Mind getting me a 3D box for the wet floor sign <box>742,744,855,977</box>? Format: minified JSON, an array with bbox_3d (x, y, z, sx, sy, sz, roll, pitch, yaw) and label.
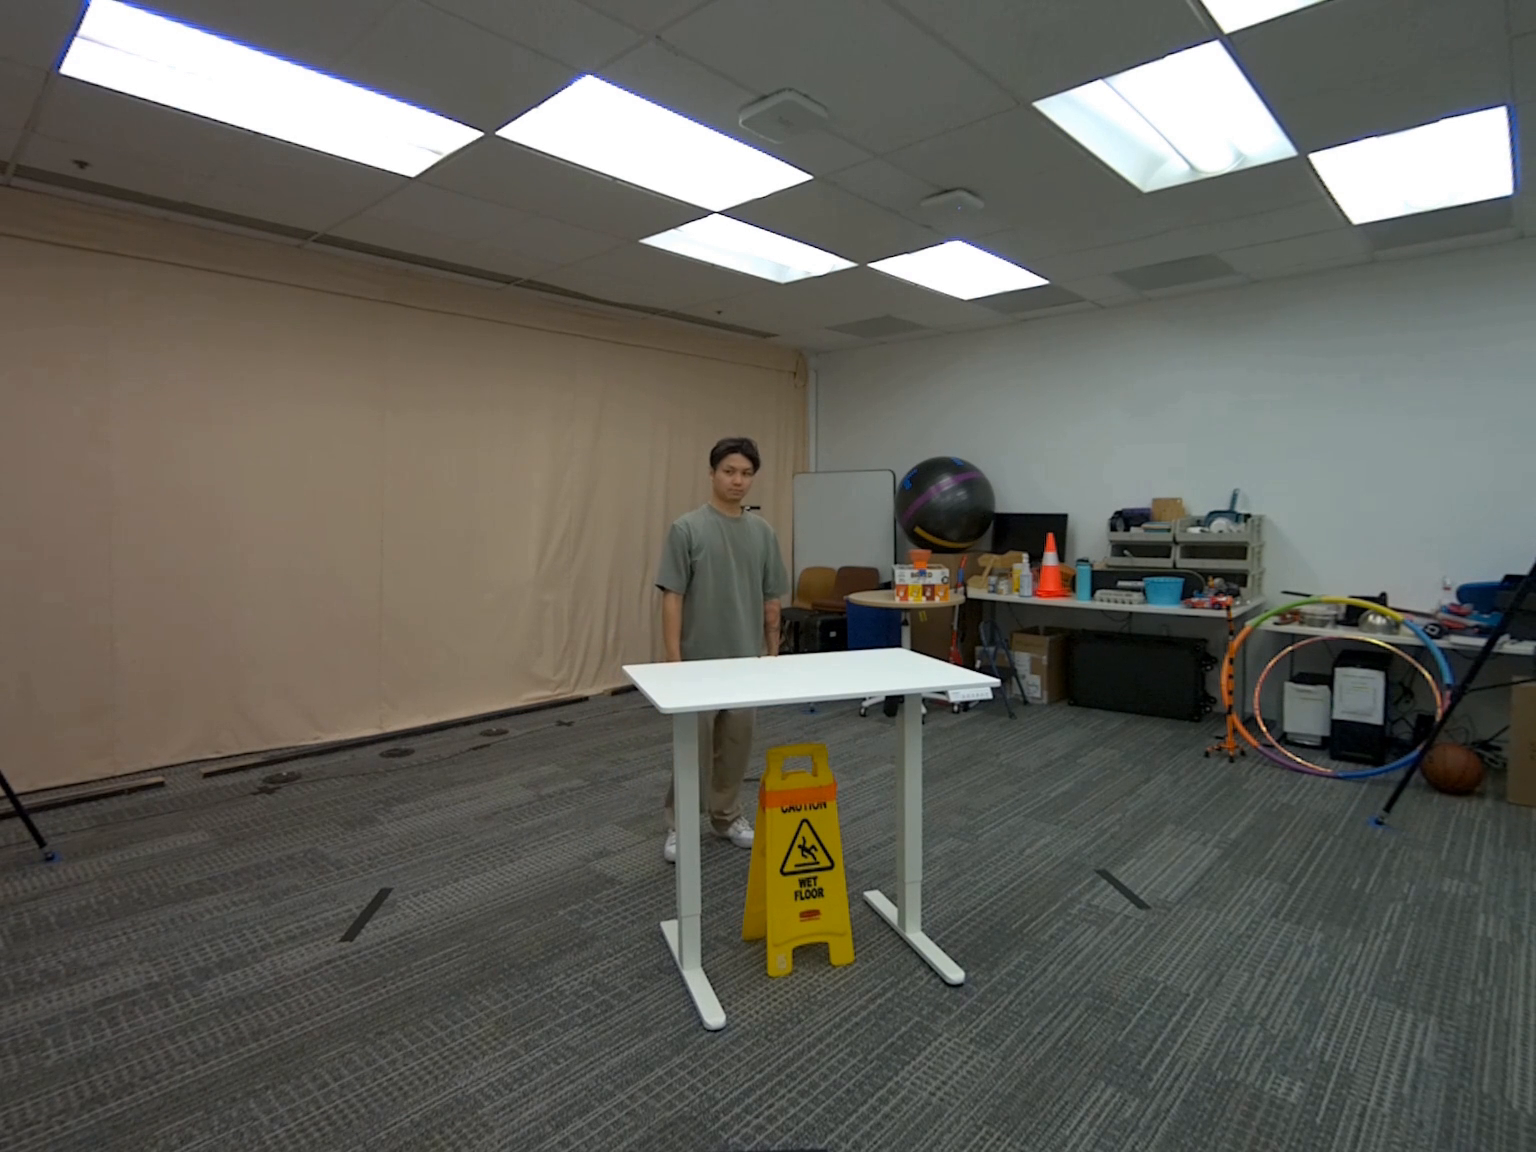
[{"bbox_3d":[0.087,0.861,2.602,0.277,0.644,0.296,-4,5,-18],"label":"wet floor sign"}]
